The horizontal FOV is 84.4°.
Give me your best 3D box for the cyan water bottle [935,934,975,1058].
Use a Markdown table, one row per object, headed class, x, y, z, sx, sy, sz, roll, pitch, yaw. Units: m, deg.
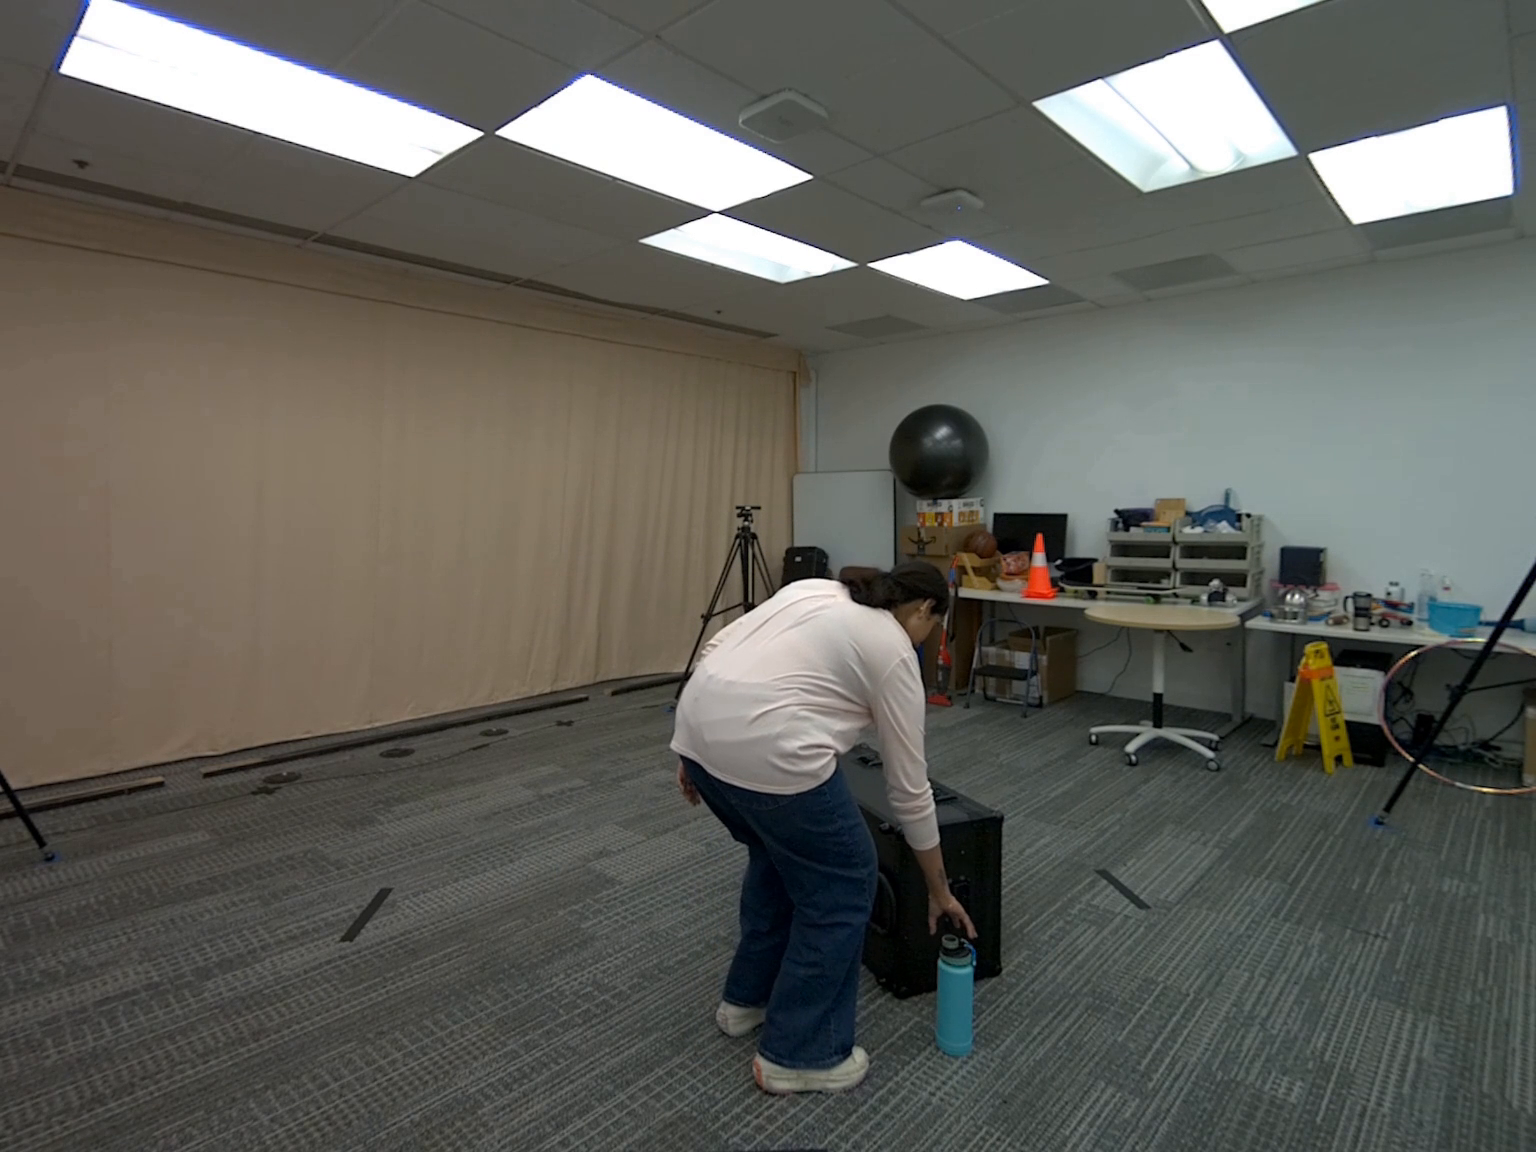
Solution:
| class | x | y | z | sx | sy | sz | roll | pitch | yaw |
| --- | --- | --- | --- | --- | --- | --- | --- | --- | --- |
| cyan water bottle | 0.479 | 1.069 | 2.161 | 0.092 | 0.283 | 0.092 | 2 | 1 | -2 |
